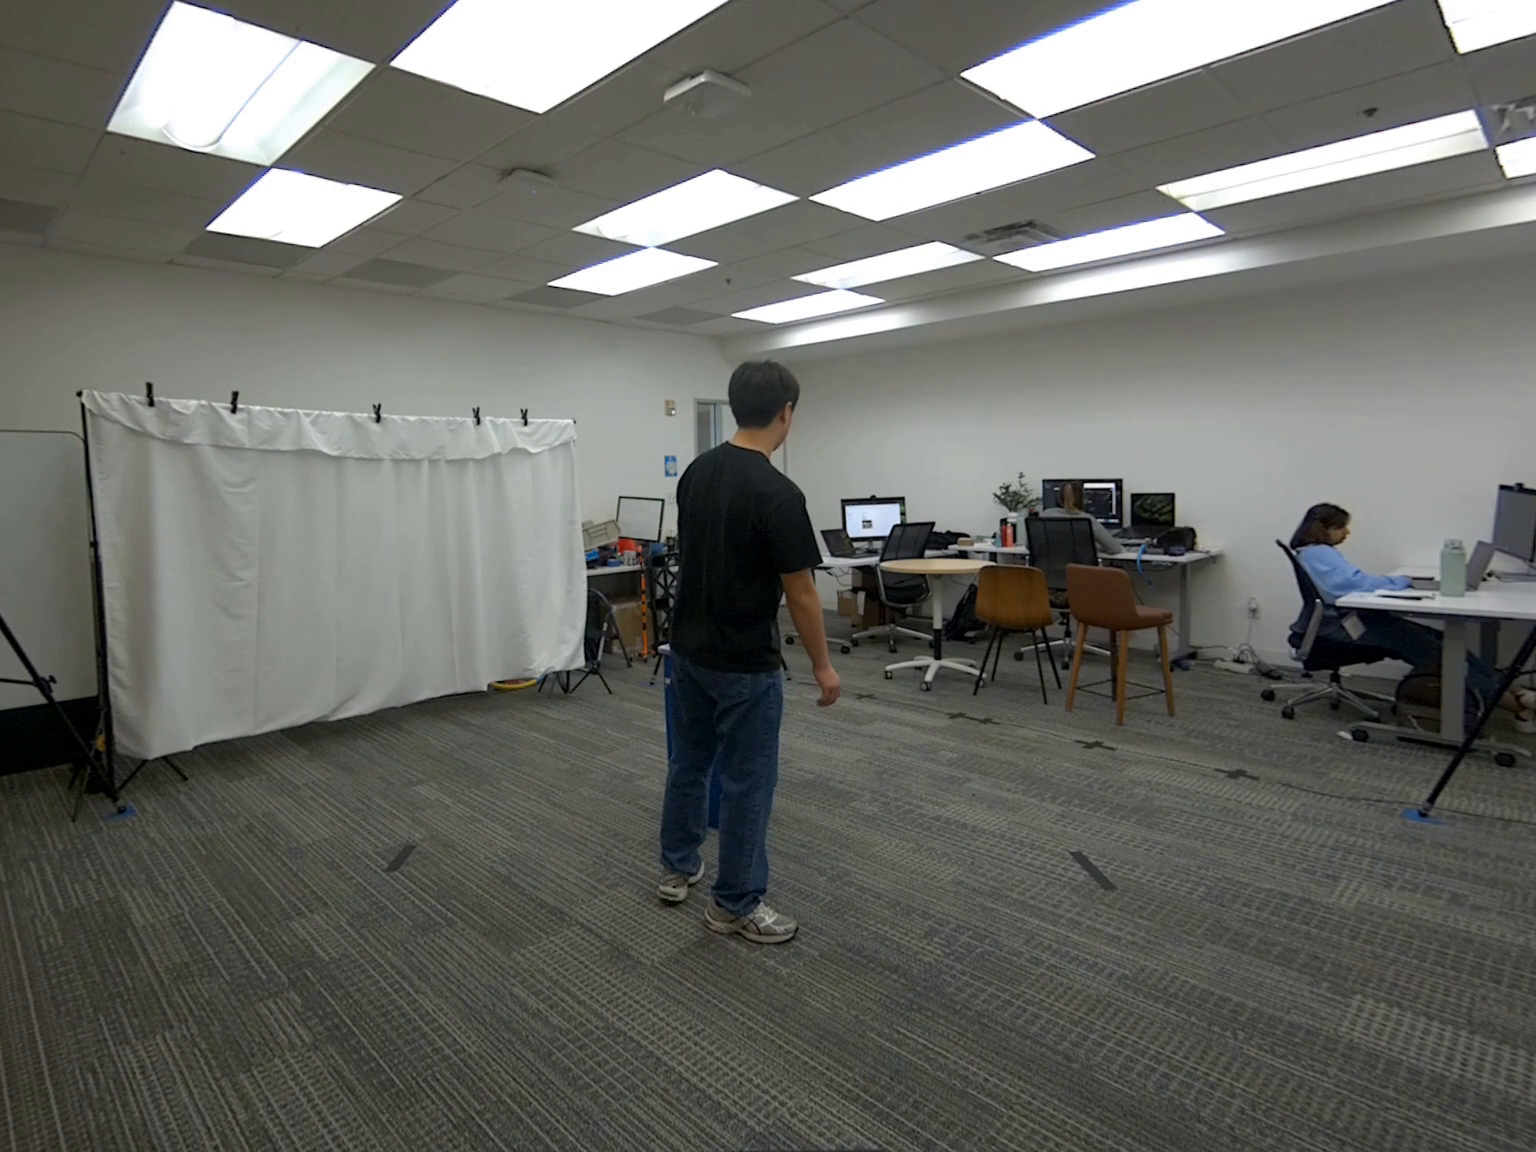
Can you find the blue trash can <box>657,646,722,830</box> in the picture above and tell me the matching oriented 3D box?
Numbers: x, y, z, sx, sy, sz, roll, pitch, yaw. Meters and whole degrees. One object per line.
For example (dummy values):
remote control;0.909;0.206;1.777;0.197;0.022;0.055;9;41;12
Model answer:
blue trash can;-0.193;0.633;3.563;0.384;0.711;0.369;1;4;31
